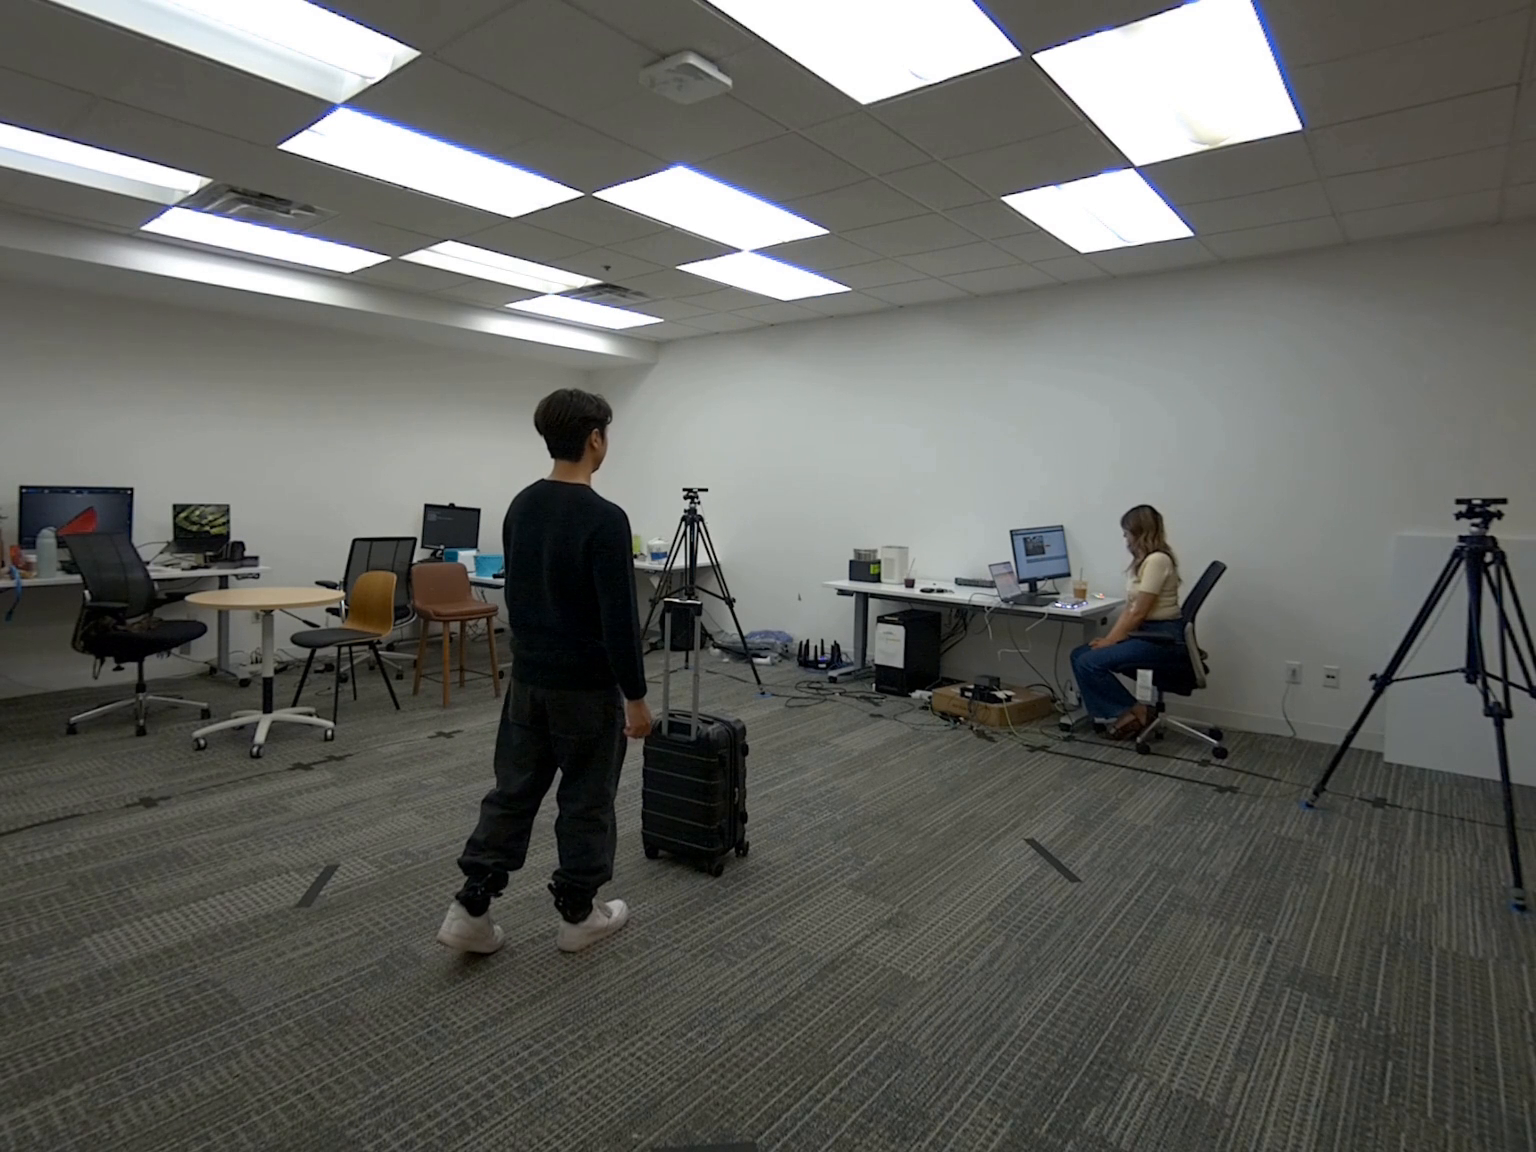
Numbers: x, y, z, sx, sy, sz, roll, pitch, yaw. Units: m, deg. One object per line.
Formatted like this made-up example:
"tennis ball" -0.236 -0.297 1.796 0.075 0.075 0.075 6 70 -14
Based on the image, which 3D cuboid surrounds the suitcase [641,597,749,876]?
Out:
"suitcase" -0.279 0.579 3.203 0.395 0.977 0.250 3 2 30
